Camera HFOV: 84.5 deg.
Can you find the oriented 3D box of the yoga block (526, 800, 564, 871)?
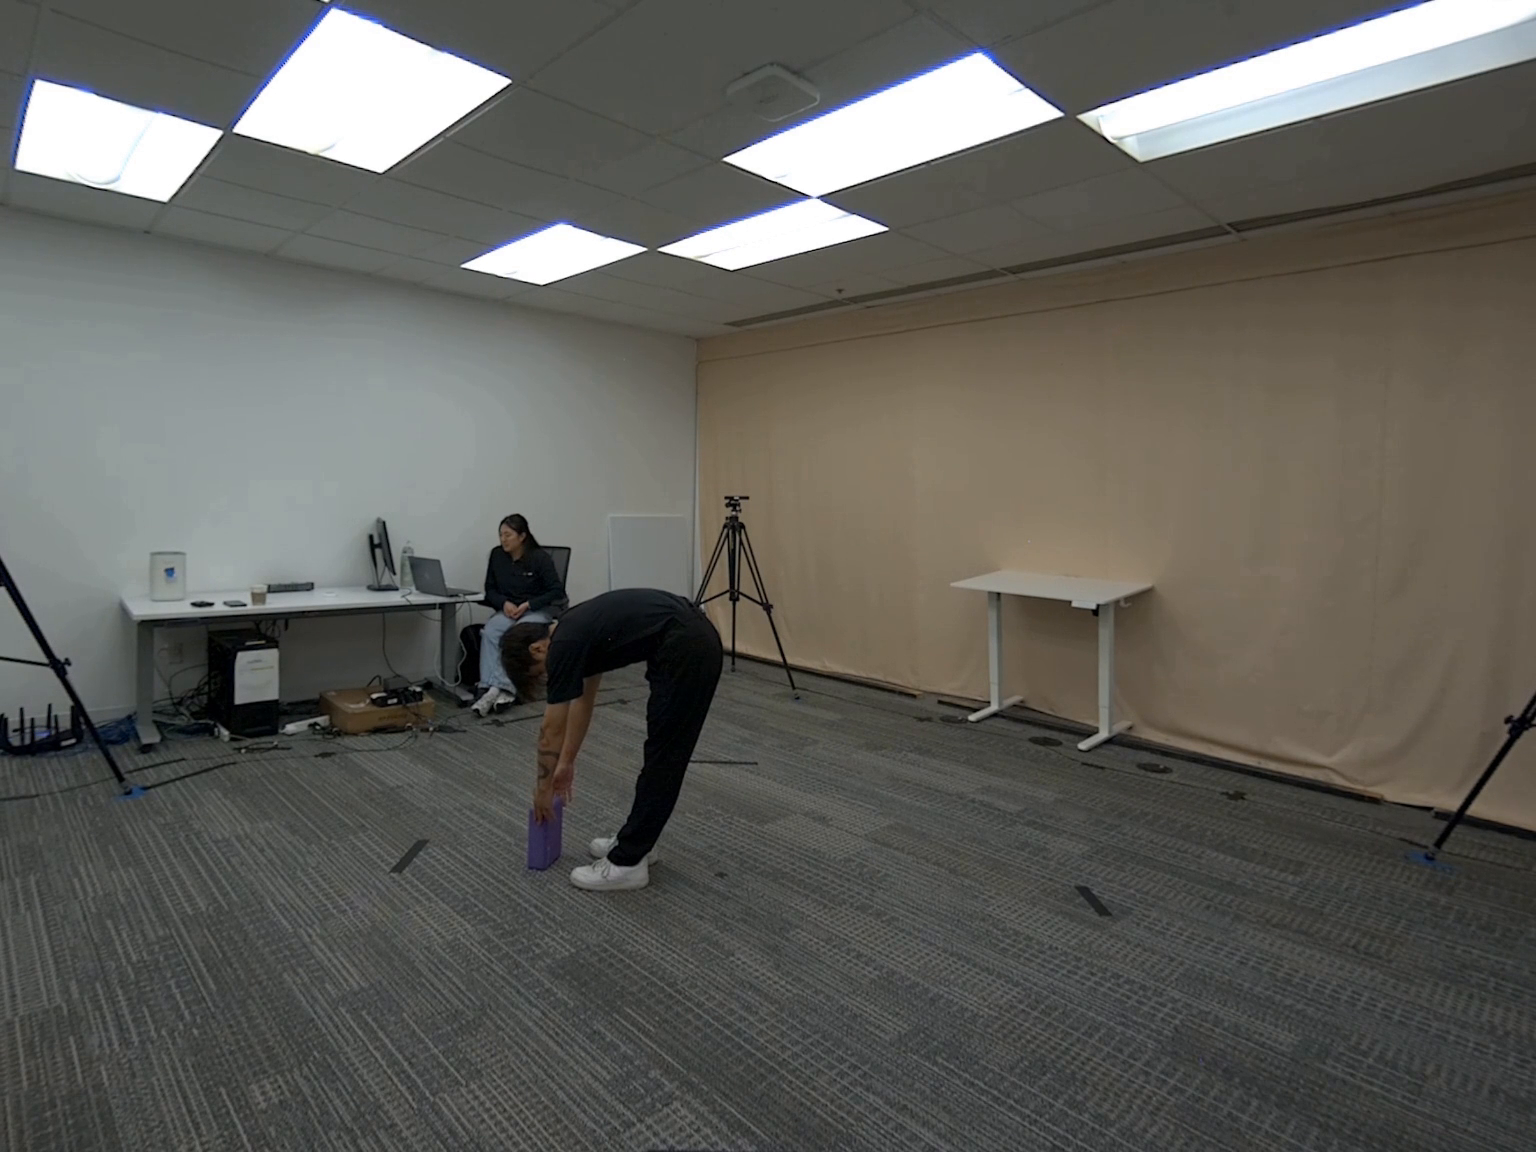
[{"bbox_3d":[-0.840,0.962,3.173,0.077,0.229,0.148,1,3,9],"label":"yoga block"}]
